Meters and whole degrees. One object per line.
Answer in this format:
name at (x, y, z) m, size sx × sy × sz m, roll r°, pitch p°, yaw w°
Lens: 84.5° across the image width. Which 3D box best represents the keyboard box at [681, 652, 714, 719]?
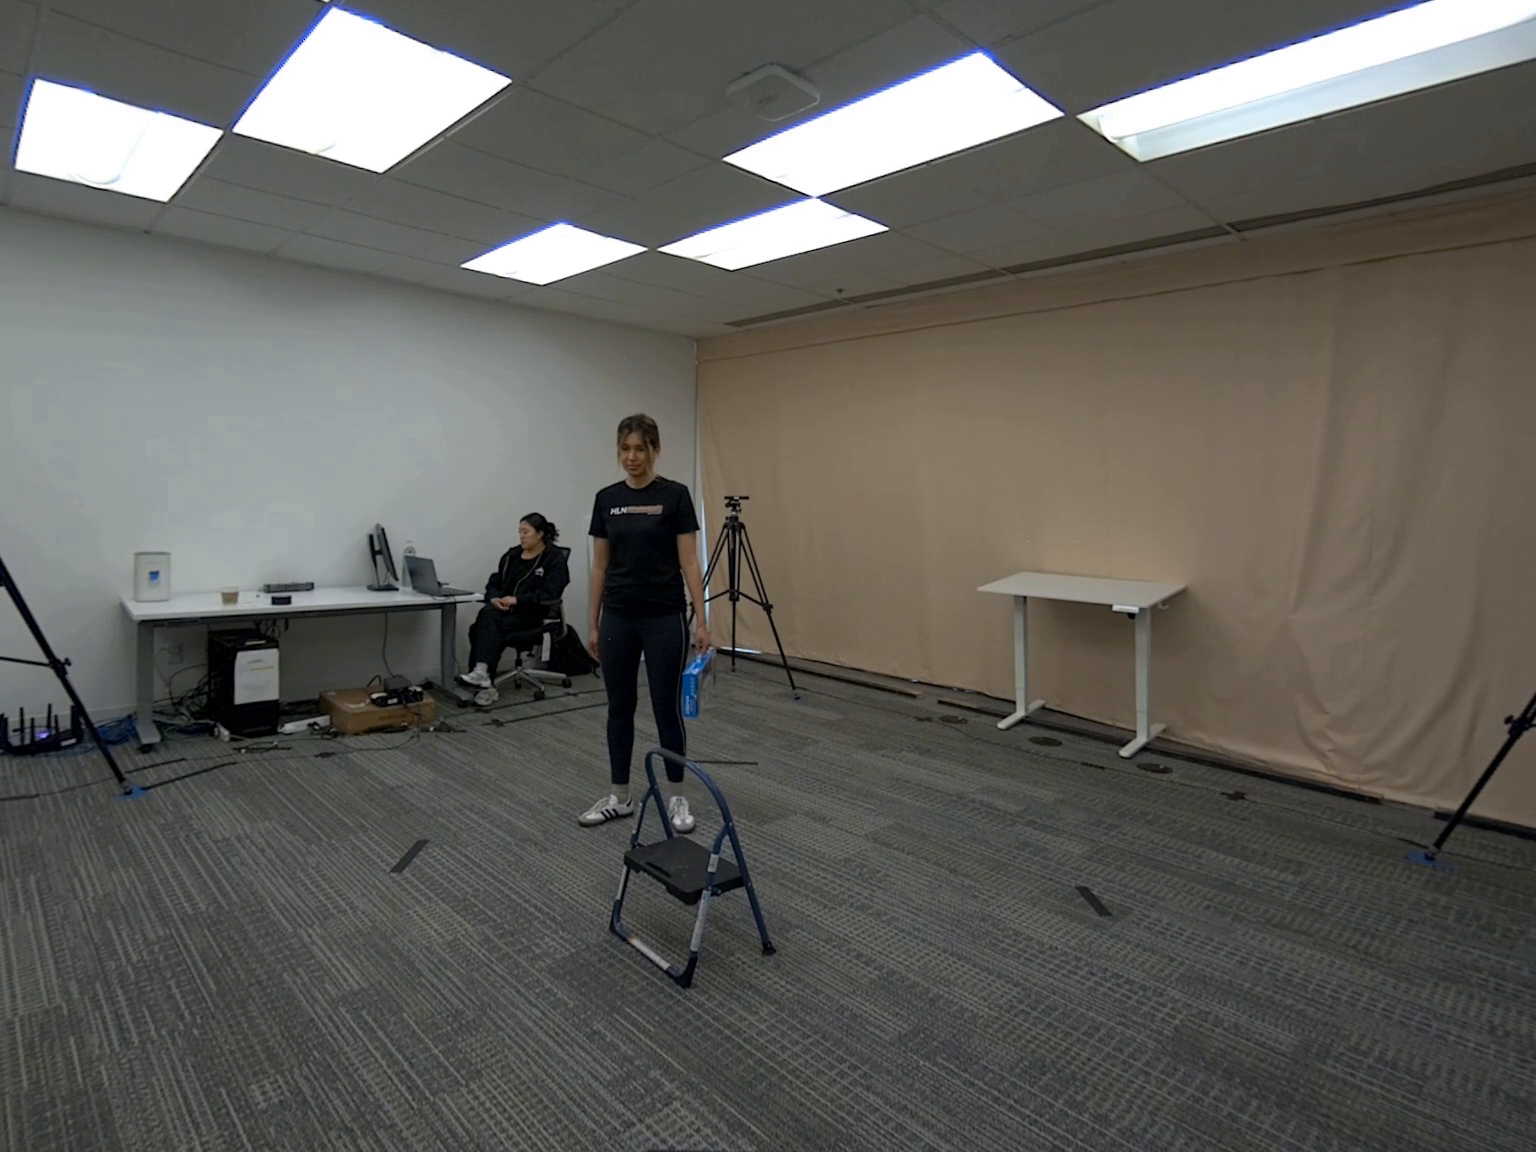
keyboard box at (-0.292, 0.422, 3.454) m, size 0.059 × 0.175 × 0.437 m, roll 2°, pitch 10°, yaw 5°
